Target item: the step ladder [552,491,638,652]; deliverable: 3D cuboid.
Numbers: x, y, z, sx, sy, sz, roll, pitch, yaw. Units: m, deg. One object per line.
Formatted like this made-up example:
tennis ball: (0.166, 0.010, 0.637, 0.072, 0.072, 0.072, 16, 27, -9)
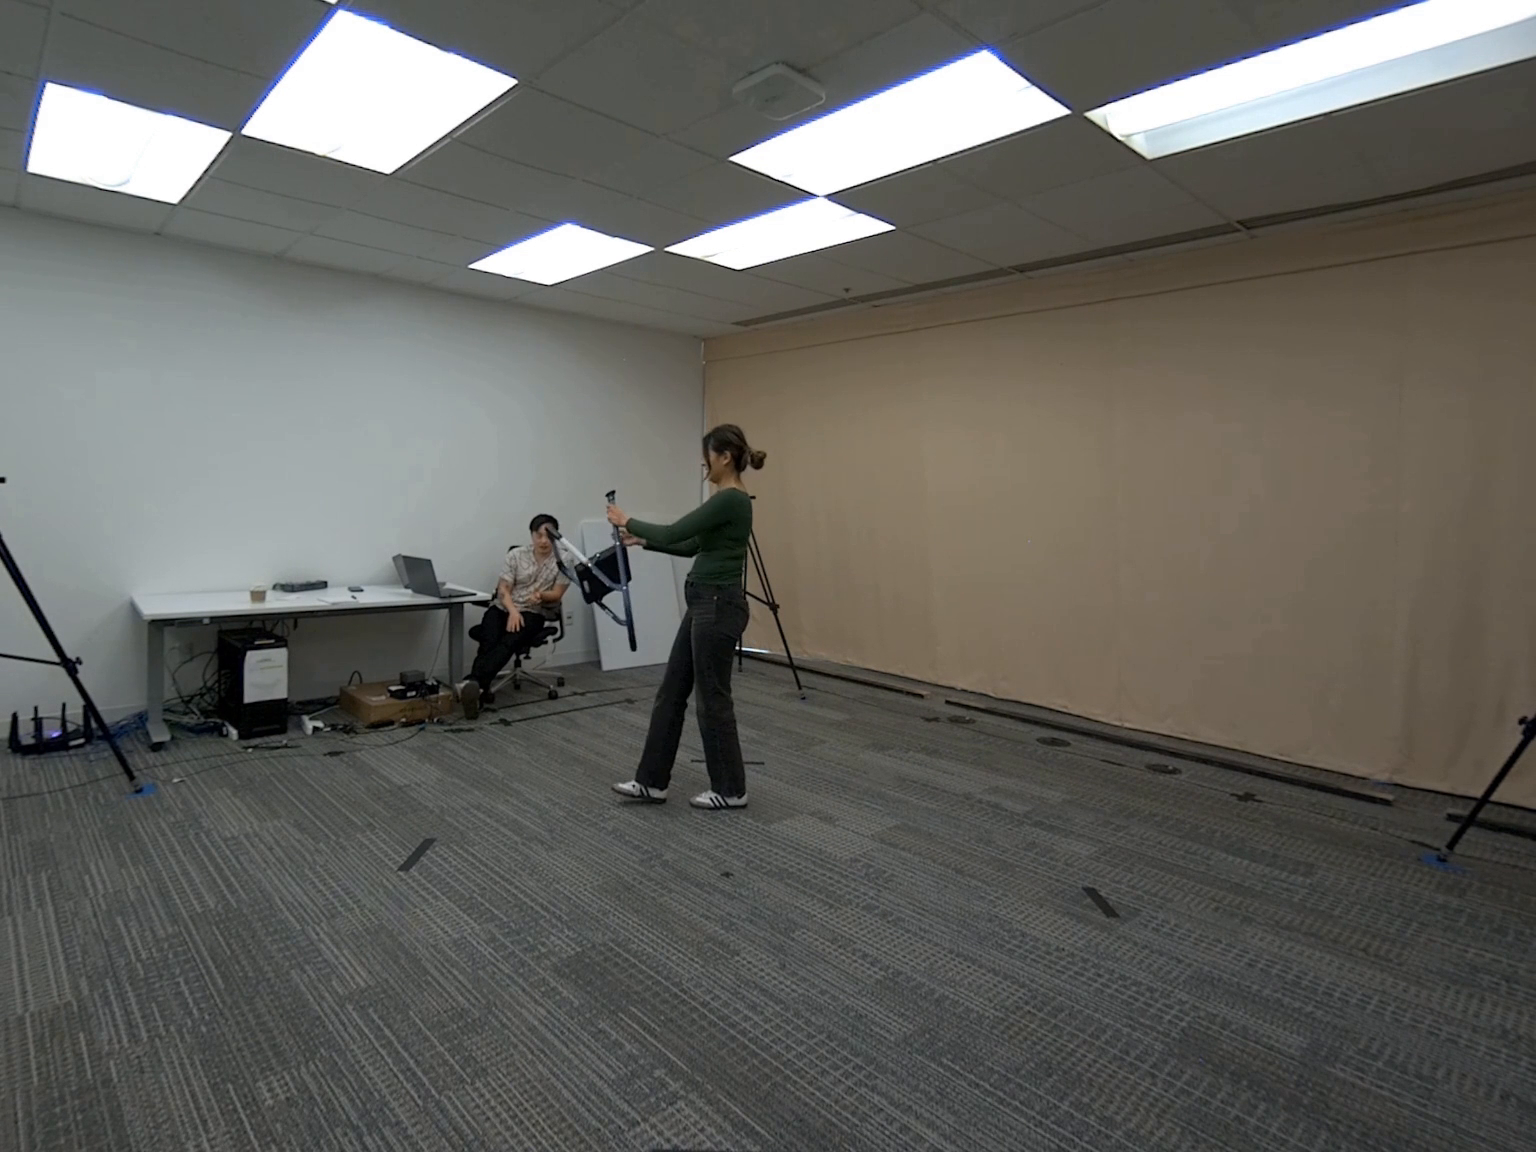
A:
step ladder: (-0.684, 0.025, 3.760, 0.347, 0.620, 0.423, -28, -23, -16)
